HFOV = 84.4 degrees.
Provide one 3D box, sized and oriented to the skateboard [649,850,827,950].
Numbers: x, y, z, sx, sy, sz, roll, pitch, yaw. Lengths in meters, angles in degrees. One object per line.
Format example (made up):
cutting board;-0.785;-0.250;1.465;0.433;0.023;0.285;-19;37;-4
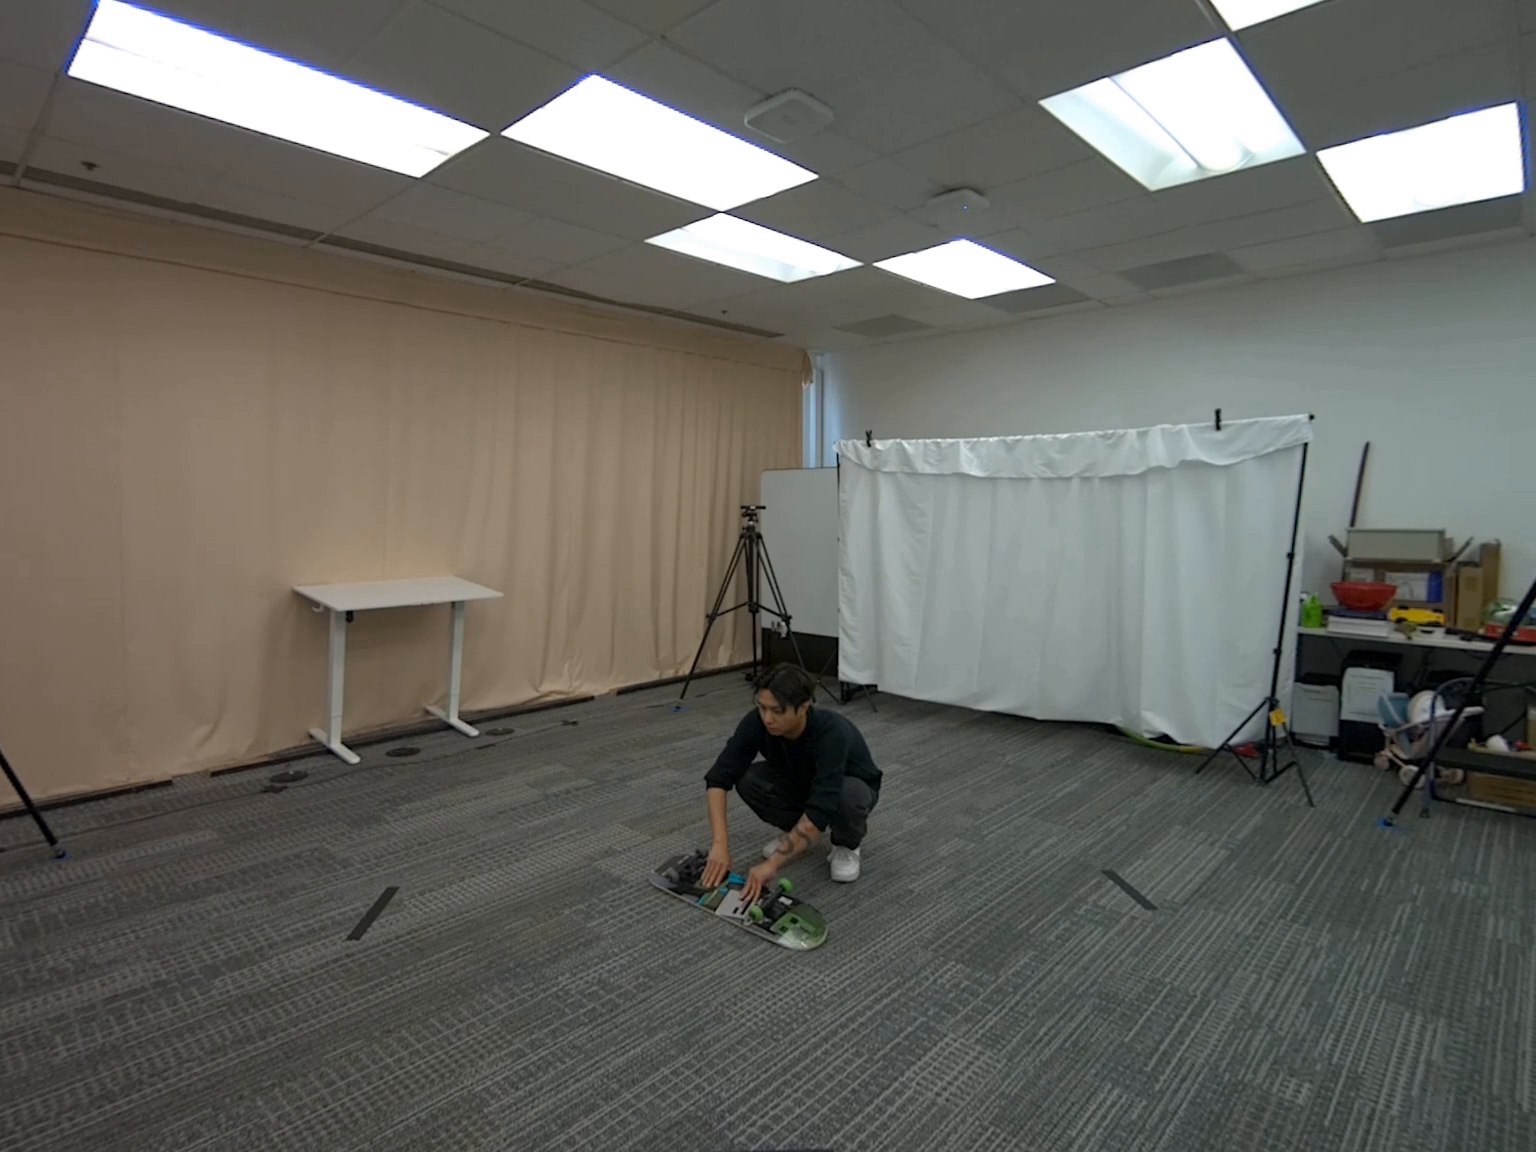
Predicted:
skateboard;-0.130;1.090;2.923;0.812;0.109;0.190;4;24;43
